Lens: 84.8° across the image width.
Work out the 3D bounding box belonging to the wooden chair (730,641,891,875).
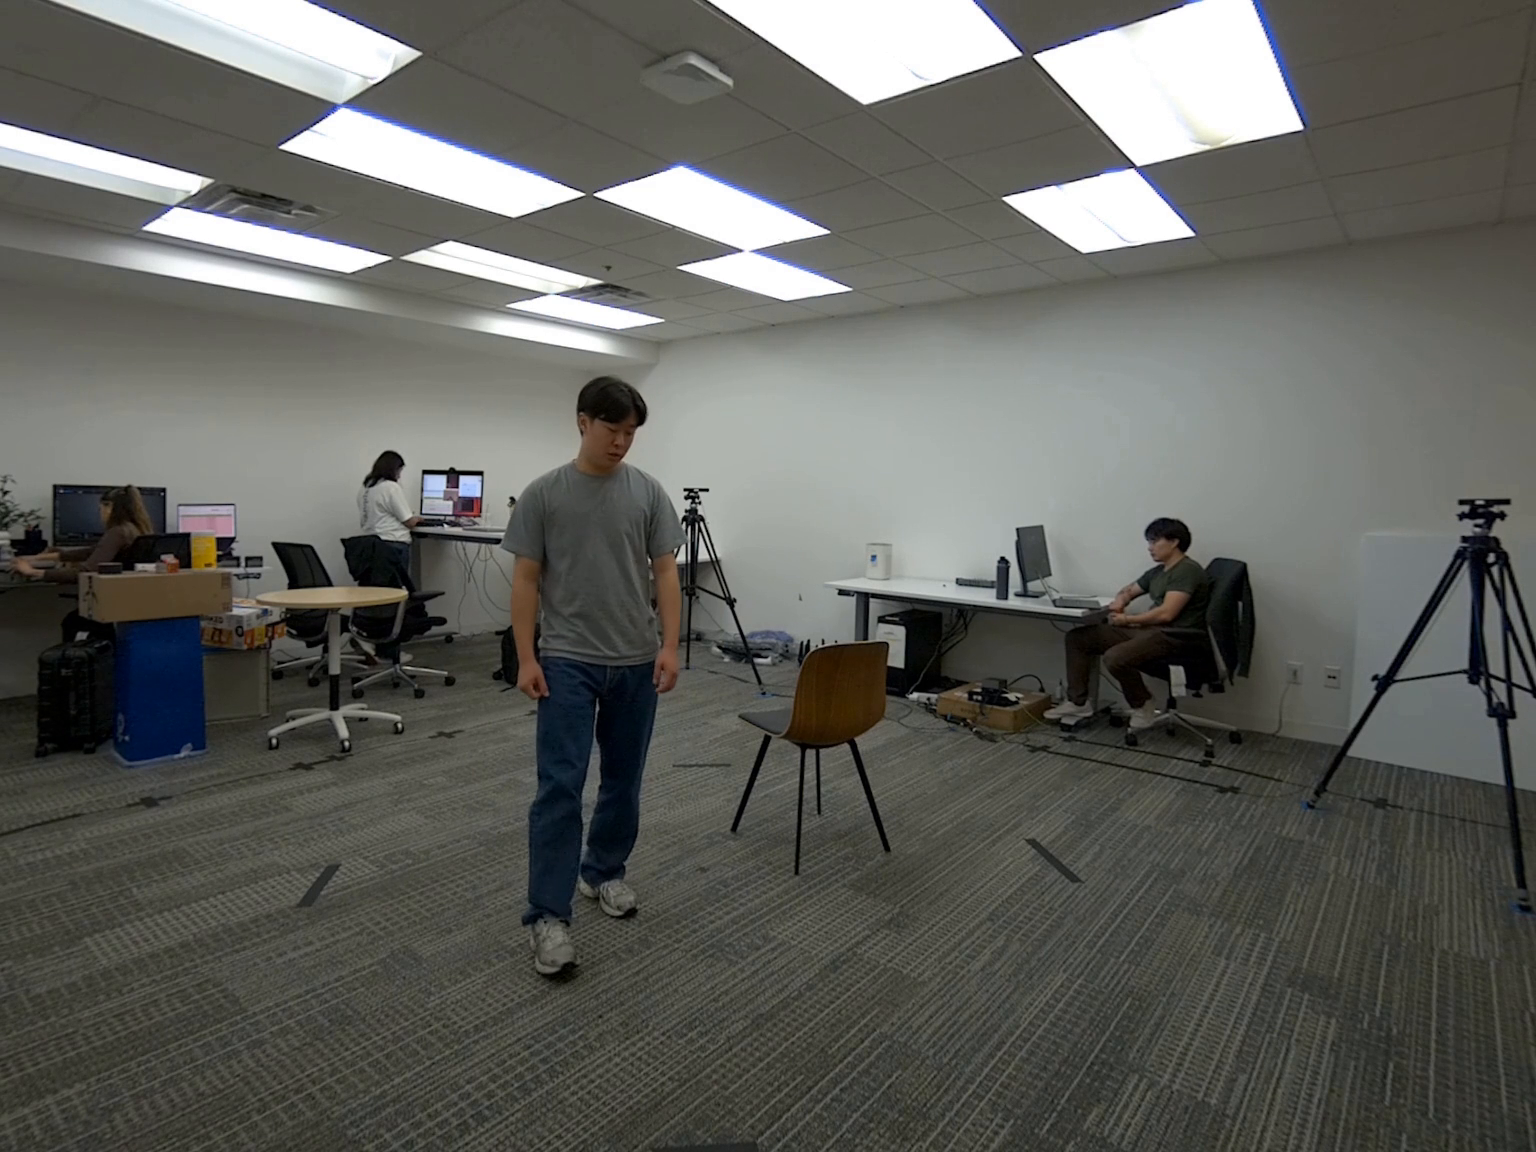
[{"bbox_3d":[0.155,0.625,3.359,0.465,0.872,0.541,-1,8,-32],"label":"wooden chair"}]
